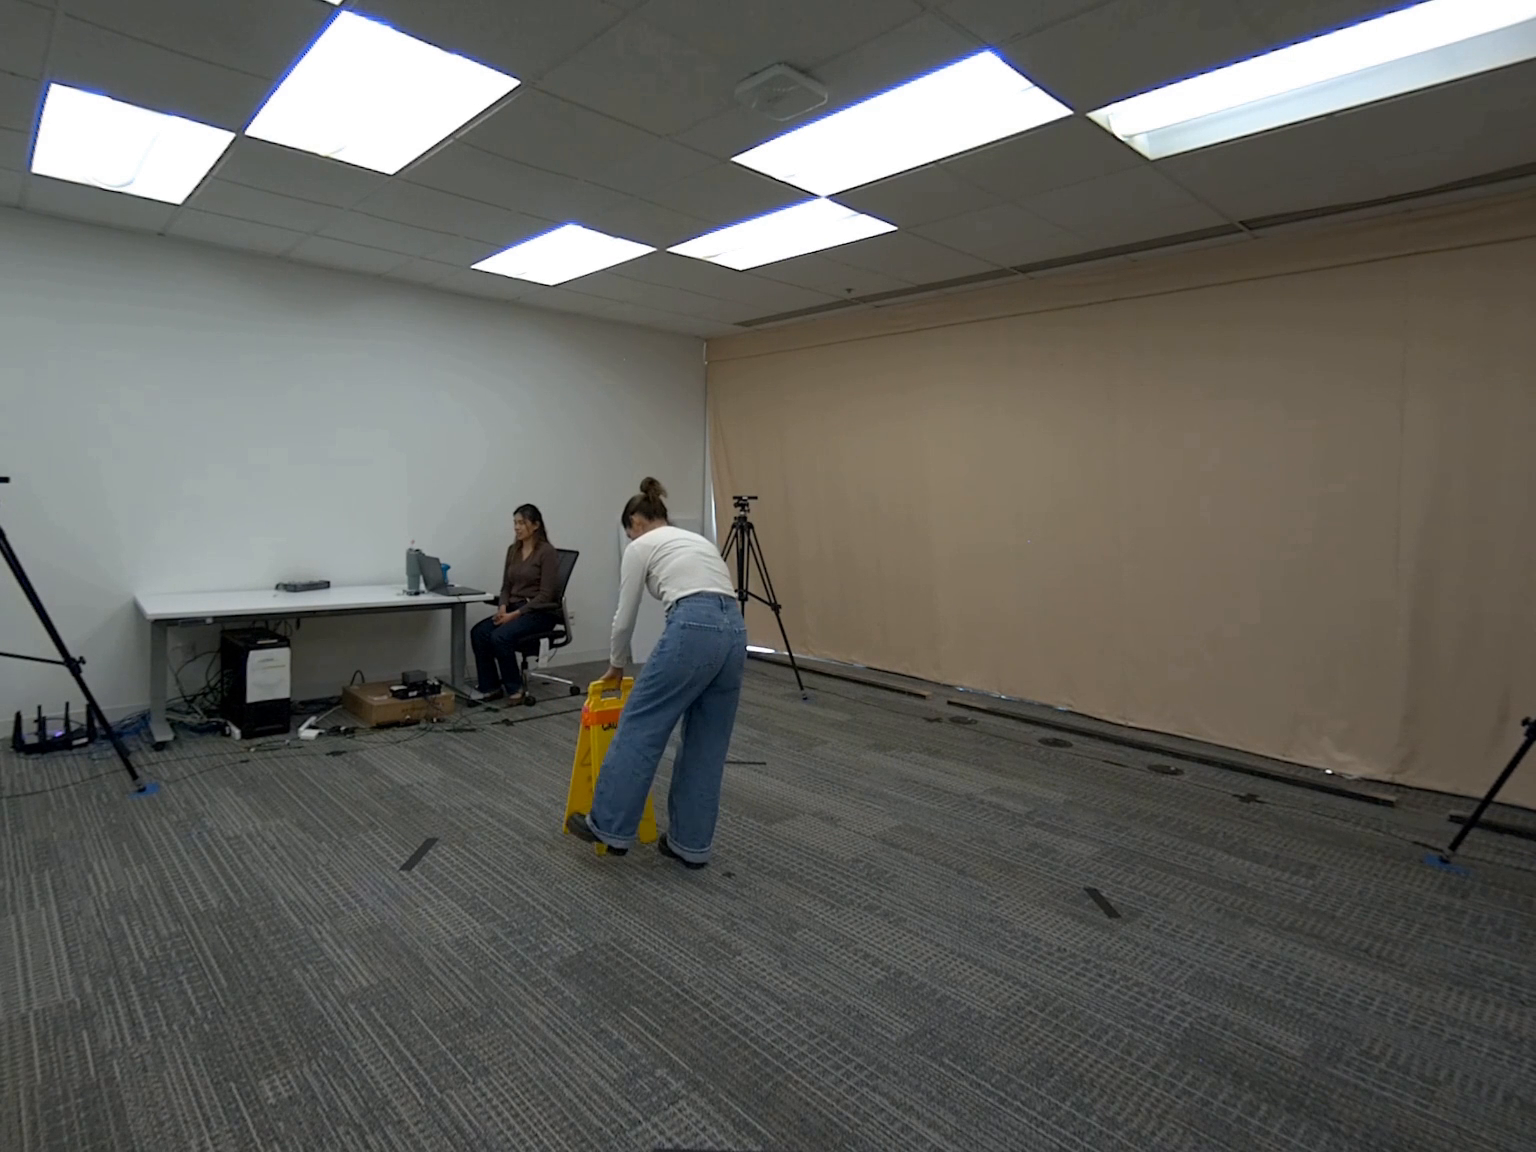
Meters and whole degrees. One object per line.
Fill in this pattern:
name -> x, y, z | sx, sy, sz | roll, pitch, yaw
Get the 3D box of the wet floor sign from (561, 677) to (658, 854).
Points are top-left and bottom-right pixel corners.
wet floor sign -> -0.642, 0.741, 3.411 | 0.276, 0.644, 0.297 | -2, 5, -40
